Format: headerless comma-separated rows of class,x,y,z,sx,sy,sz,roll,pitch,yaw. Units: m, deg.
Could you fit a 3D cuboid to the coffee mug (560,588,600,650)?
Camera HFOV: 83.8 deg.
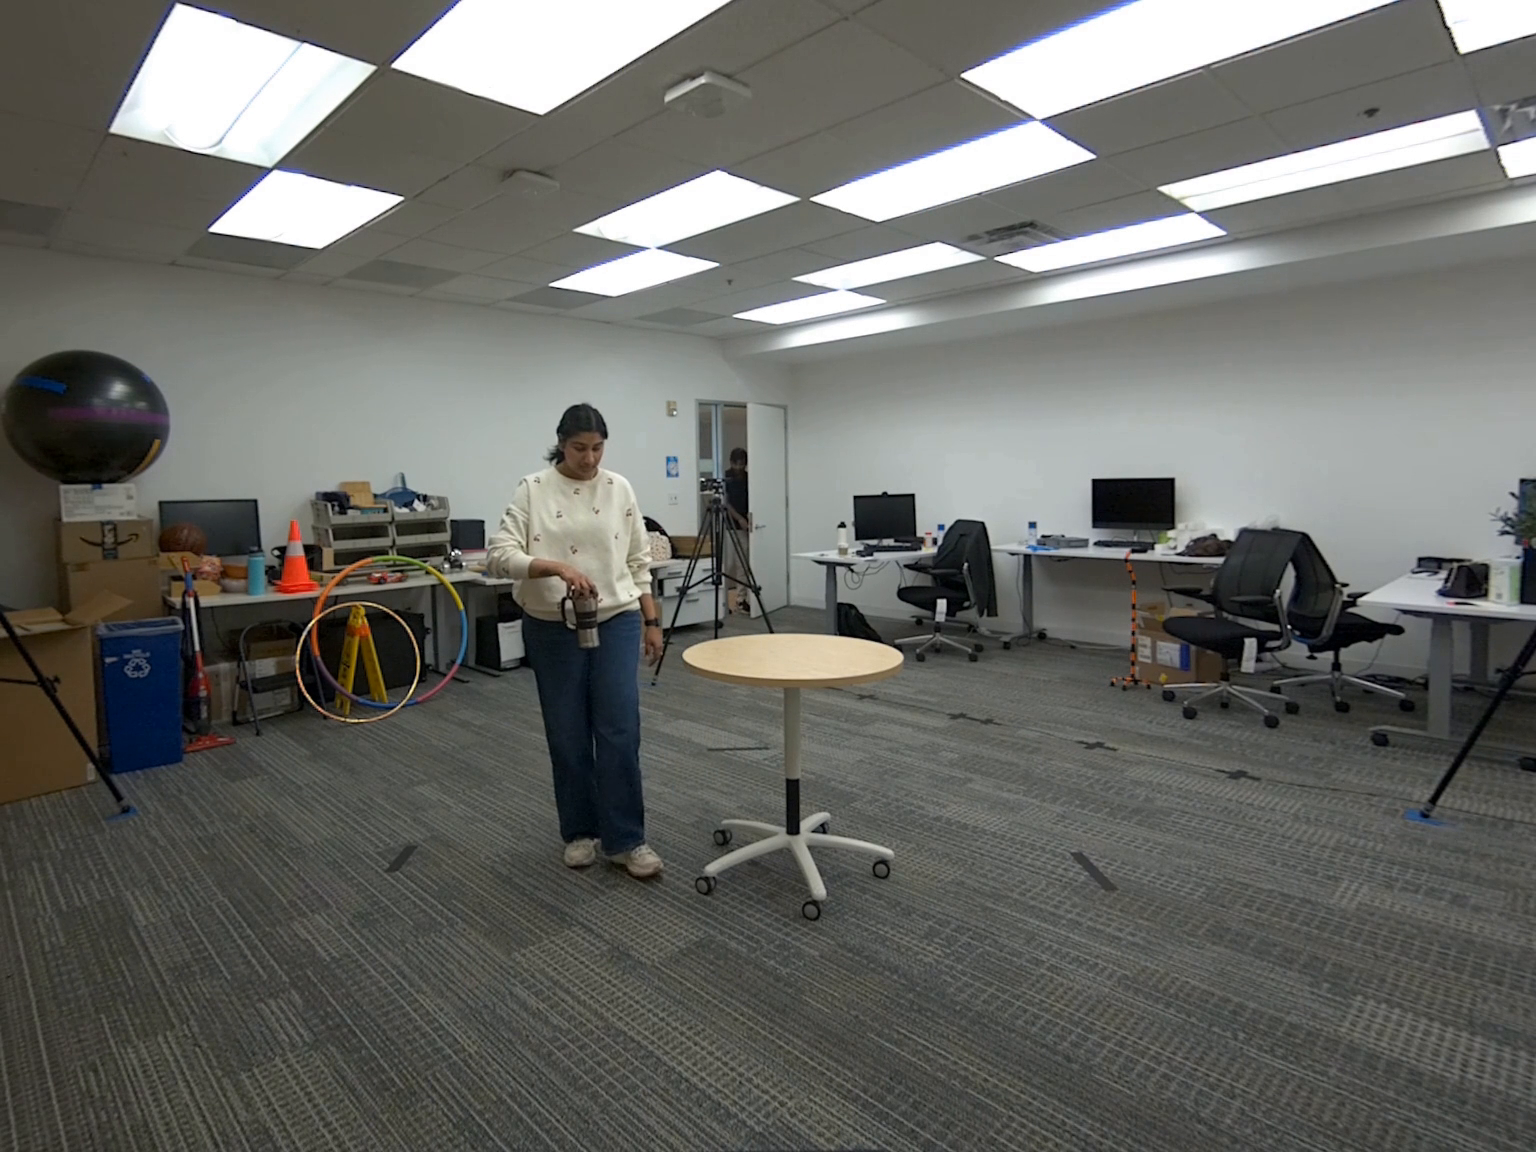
coffee mug,-0.638,0.147,2.886,0.086,0.201,0.126,-12,14,-36
